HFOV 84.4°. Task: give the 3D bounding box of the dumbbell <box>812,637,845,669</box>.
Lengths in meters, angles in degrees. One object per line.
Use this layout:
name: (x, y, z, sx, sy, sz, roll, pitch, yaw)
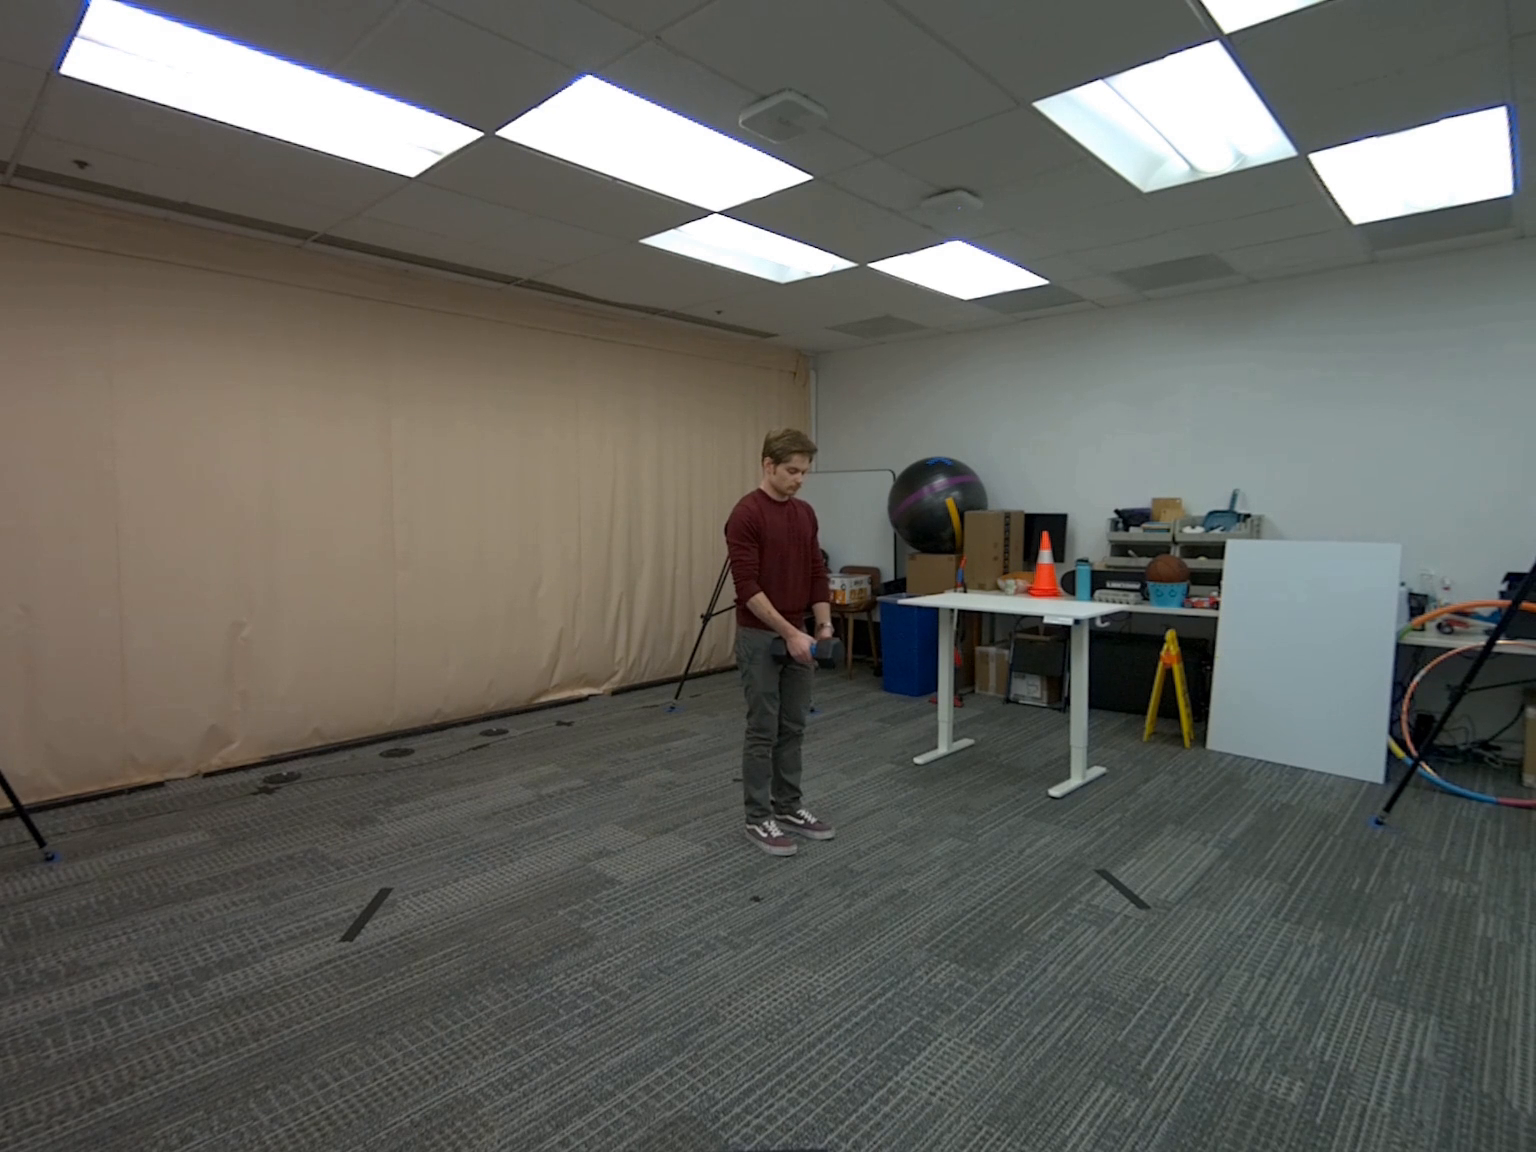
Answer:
dumbbell: (0.154, 0.289, 3.273, 0.303, 0.120, 0.108, -1, 40, 41)
